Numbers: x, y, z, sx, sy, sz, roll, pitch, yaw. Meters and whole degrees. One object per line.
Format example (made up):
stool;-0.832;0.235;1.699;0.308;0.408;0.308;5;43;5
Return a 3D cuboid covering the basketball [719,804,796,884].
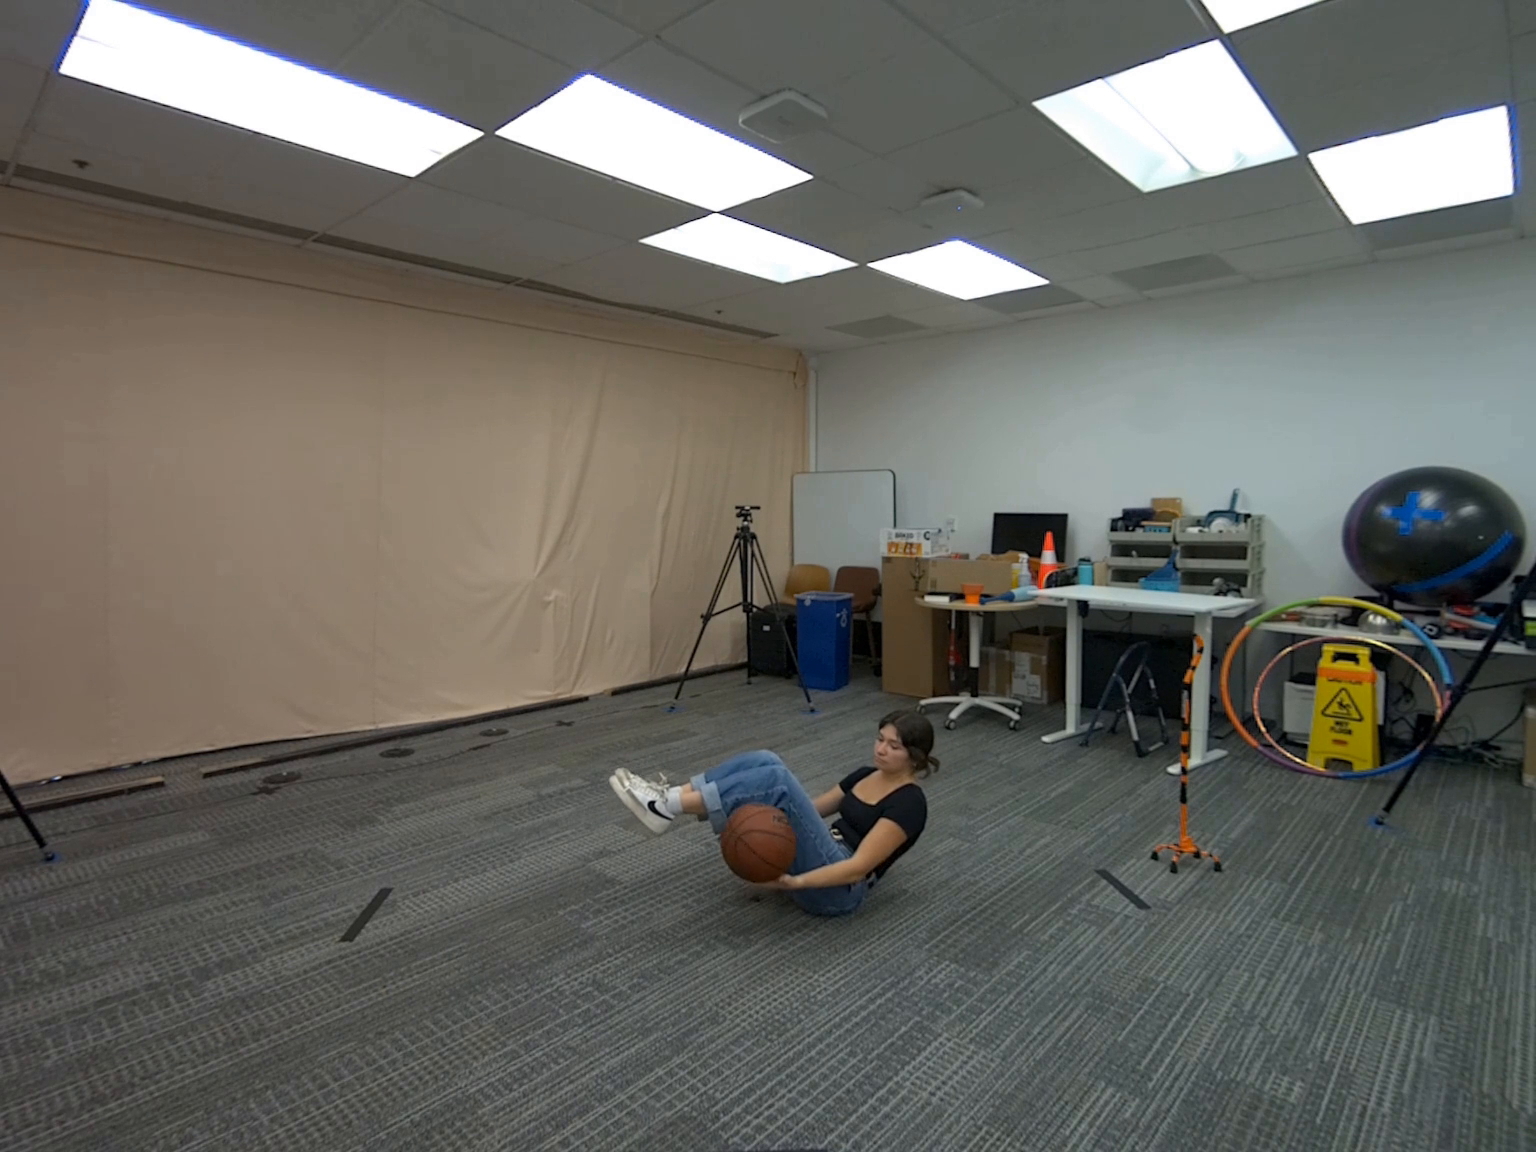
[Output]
basketball;-0.025;0.832;2.656;0.236;0.235;0.237;0;4;-2
